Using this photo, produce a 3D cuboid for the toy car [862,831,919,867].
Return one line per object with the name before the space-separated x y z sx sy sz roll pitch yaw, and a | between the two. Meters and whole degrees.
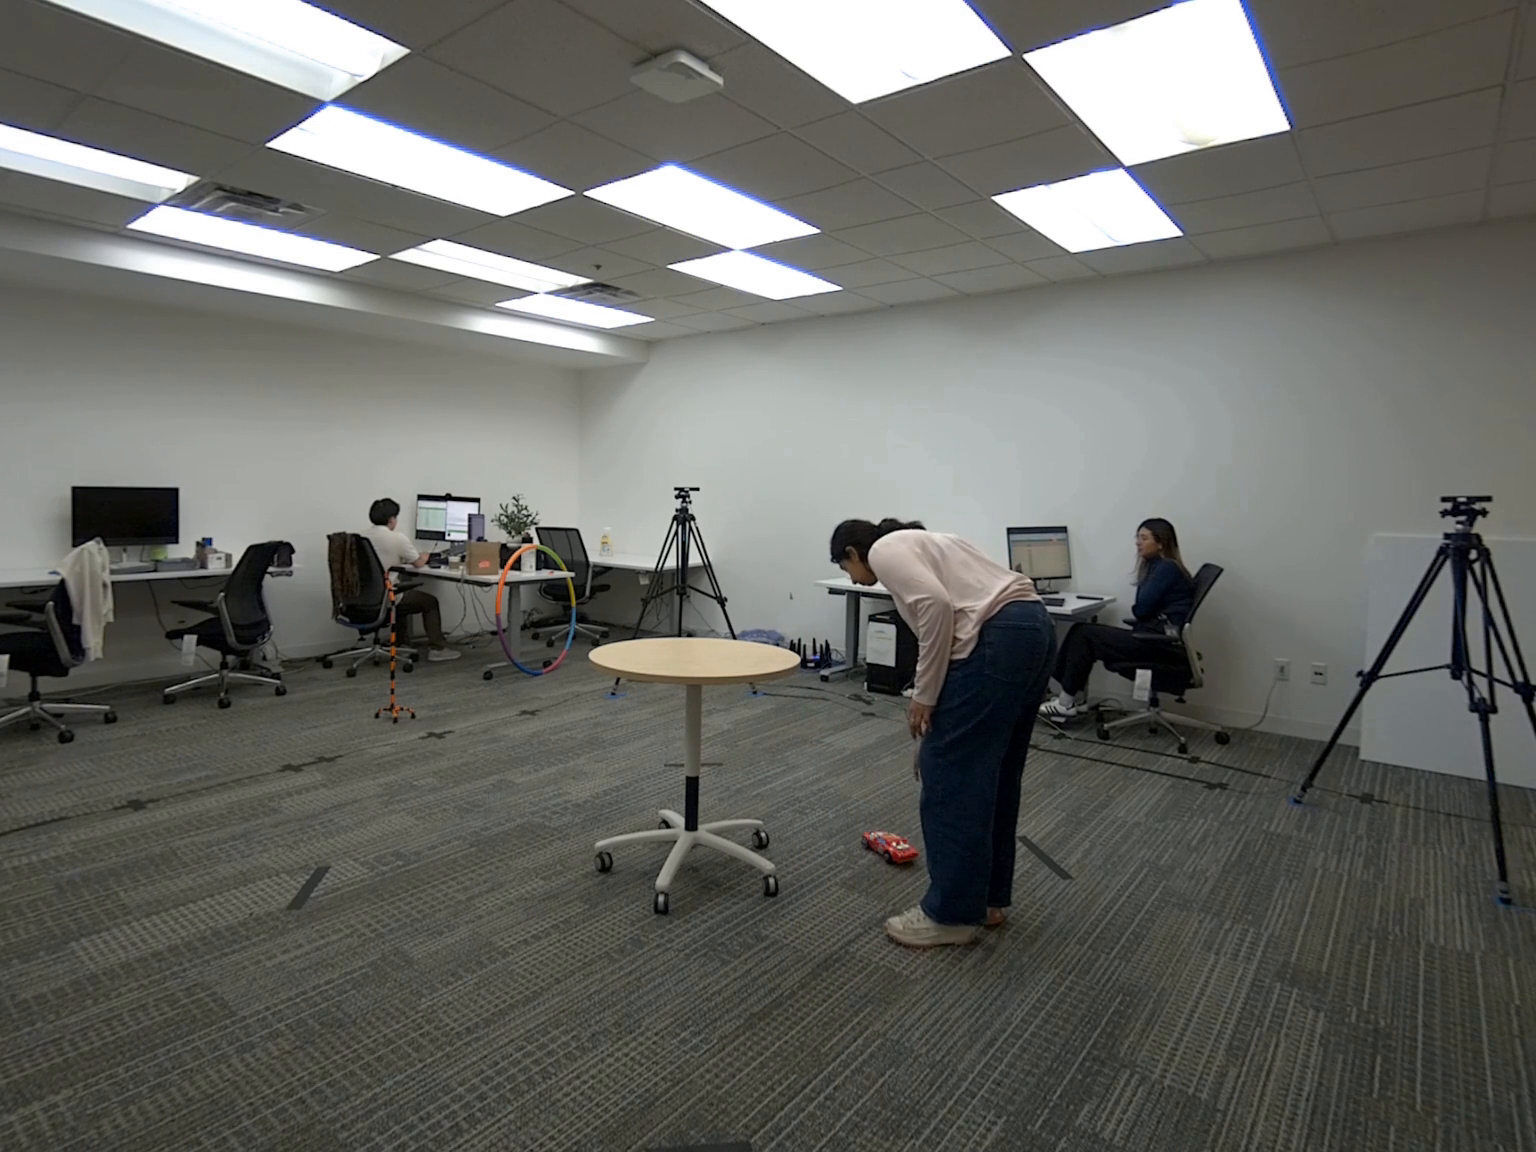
toy car | 0.467 1.036 3.256 0.127 0.083 0.260 -2 -4 -28
